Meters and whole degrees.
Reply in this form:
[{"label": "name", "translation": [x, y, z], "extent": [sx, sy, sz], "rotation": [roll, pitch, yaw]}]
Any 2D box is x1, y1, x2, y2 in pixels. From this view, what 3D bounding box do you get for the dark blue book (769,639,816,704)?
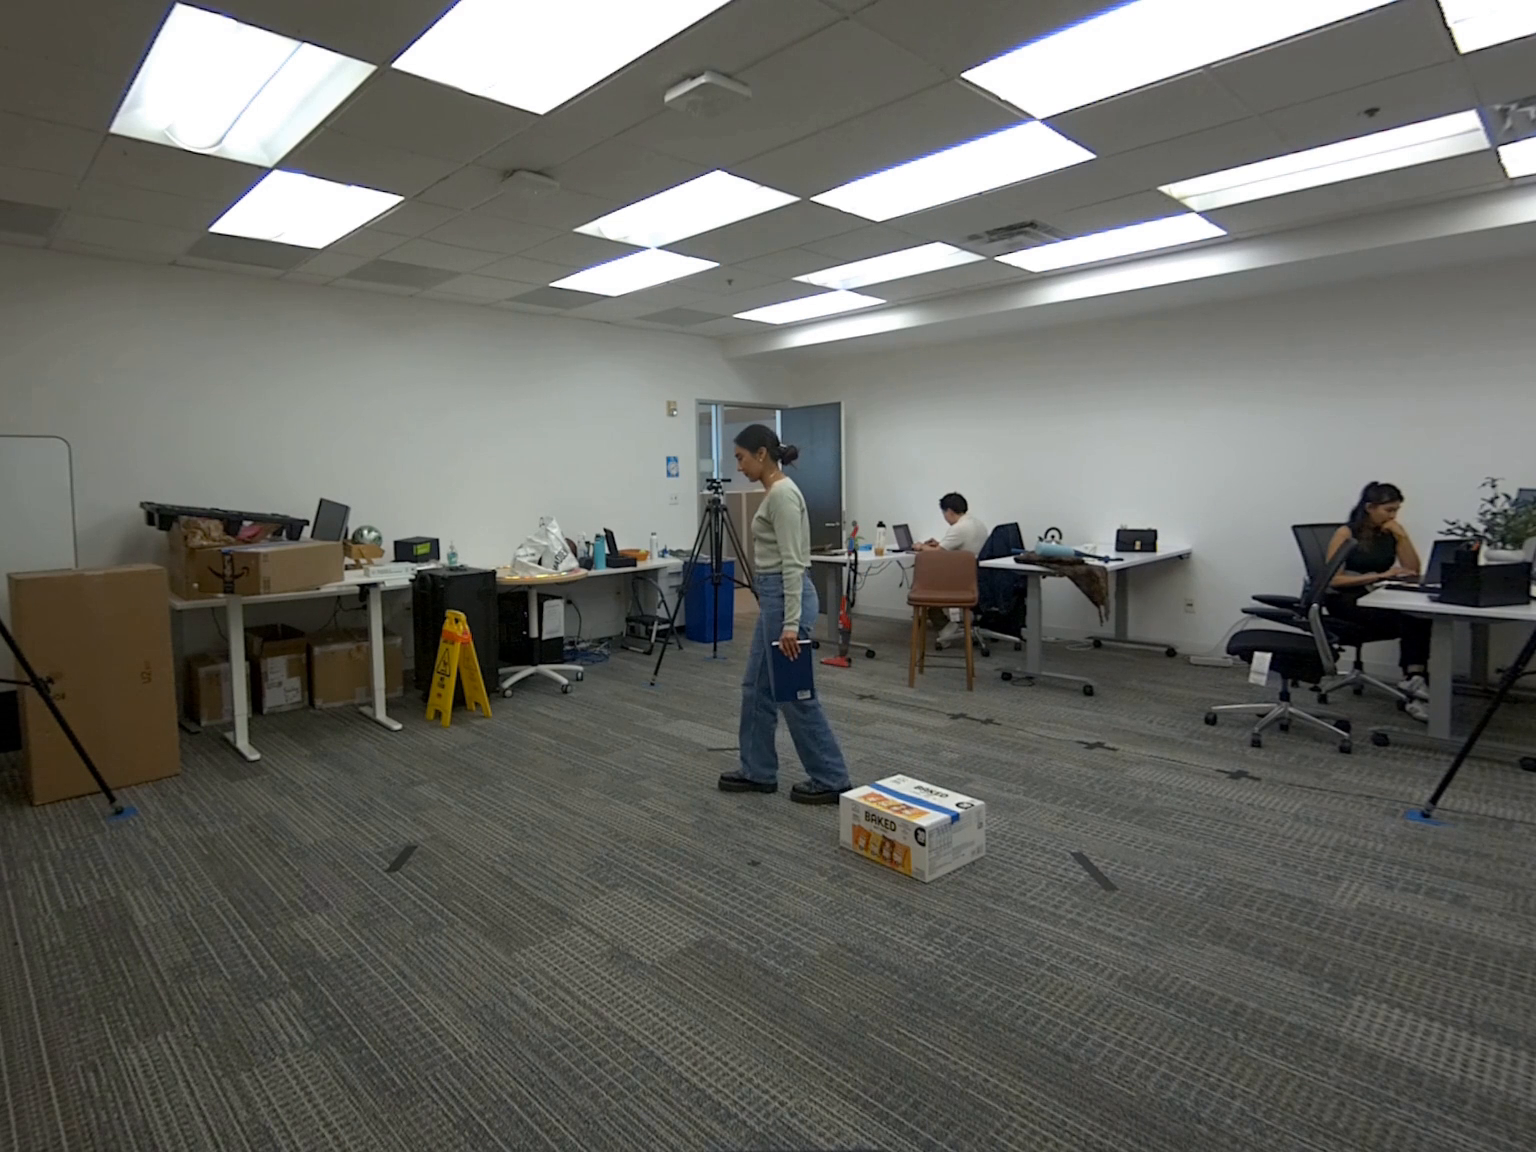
[{"label": "dark blue book", "translation": [0.095, 0.393, 3.515], "extent": [0.164, 0.243, 0.045], "rotation": [-4, 8, 5]}]
